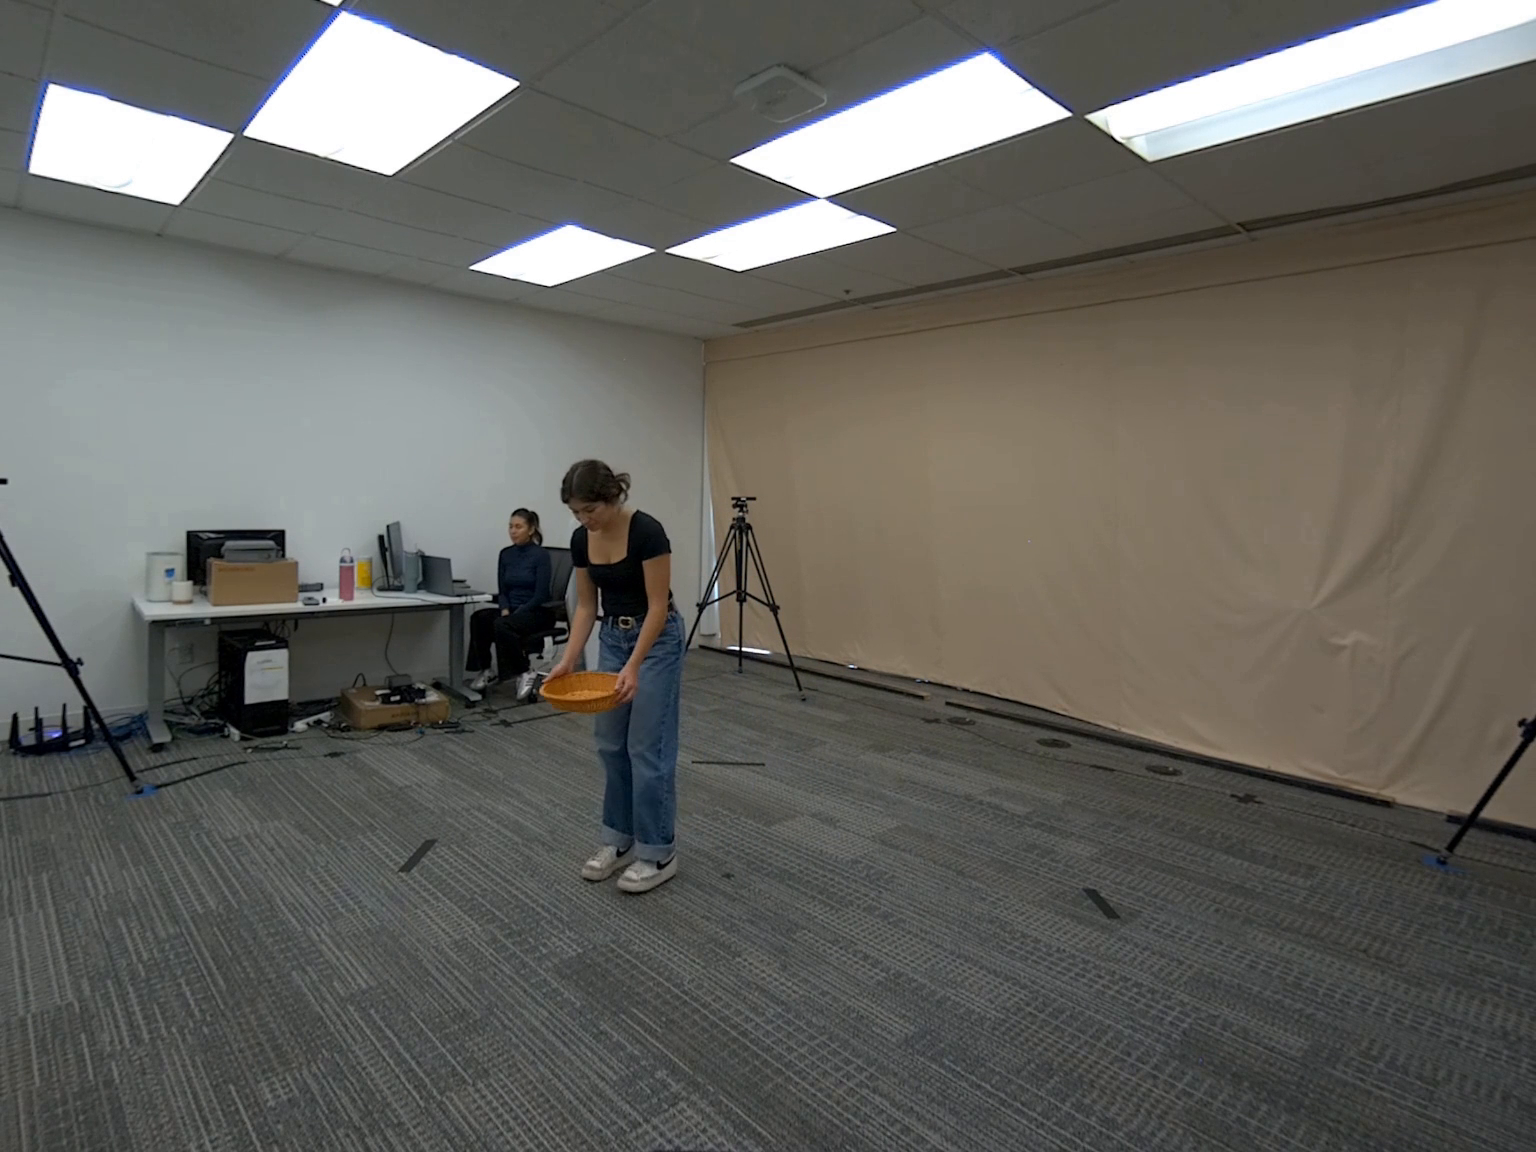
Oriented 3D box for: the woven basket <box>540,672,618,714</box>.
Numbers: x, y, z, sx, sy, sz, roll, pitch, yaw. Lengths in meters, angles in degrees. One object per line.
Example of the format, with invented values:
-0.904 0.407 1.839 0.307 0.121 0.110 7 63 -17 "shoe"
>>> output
-0.650 0.414 2.924 0.359 0.073 0.249 2 17 41 "woven basket"
